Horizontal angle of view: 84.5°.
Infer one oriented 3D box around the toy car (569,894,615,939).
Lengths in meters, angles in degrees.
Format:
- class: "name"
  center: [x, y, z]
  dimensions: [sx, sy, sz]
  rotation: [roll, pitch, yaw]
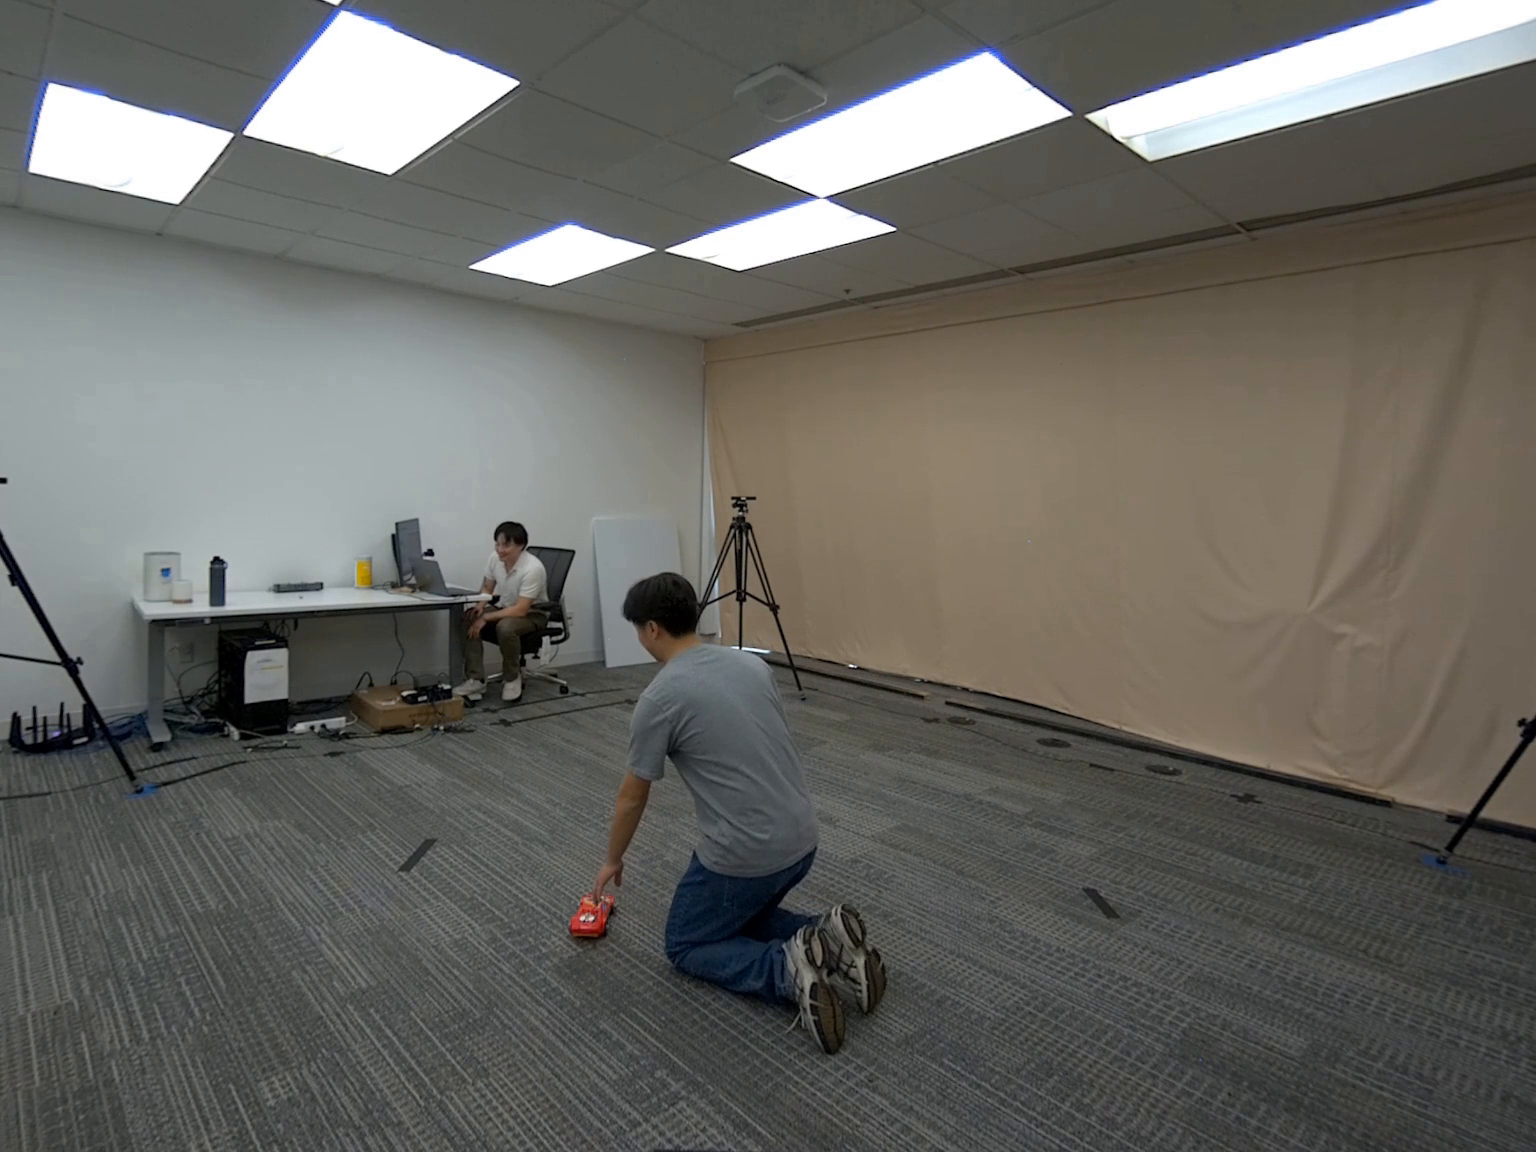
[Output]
- class: "toy car"
  center: [-0.577, 1.101, 2.711]
  dimensions: [0.130, 0.083, 0.253]
  rotation: [3, -6, 1]
